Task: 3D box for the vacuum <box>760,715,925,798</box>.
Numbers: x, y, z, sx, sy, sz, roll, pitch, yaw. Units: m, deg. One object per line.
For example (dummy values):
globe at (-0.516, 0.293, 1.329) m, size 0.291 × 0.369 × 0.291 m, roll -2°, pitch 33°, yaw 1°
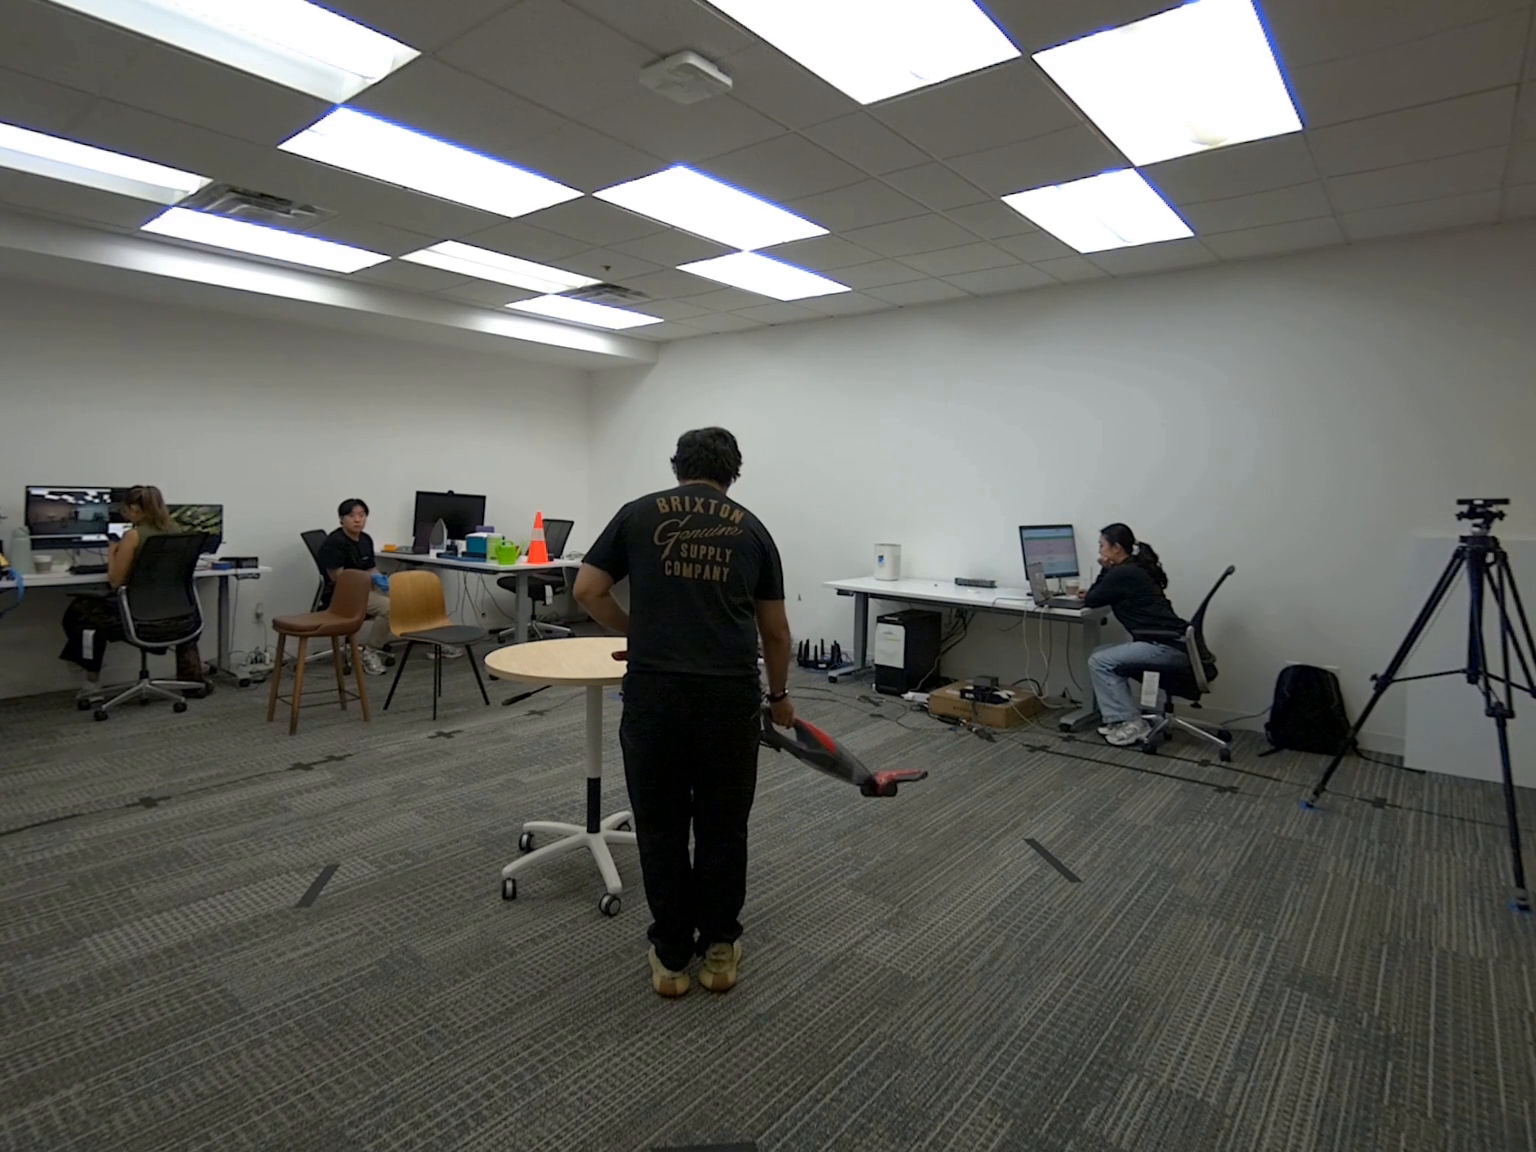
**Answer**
vacuum at (-0.015, 0.449, 2.650) m, size 1.021 × 0.145 × 0.257 m, roll 31°, pitch -24°, yaw -20°
